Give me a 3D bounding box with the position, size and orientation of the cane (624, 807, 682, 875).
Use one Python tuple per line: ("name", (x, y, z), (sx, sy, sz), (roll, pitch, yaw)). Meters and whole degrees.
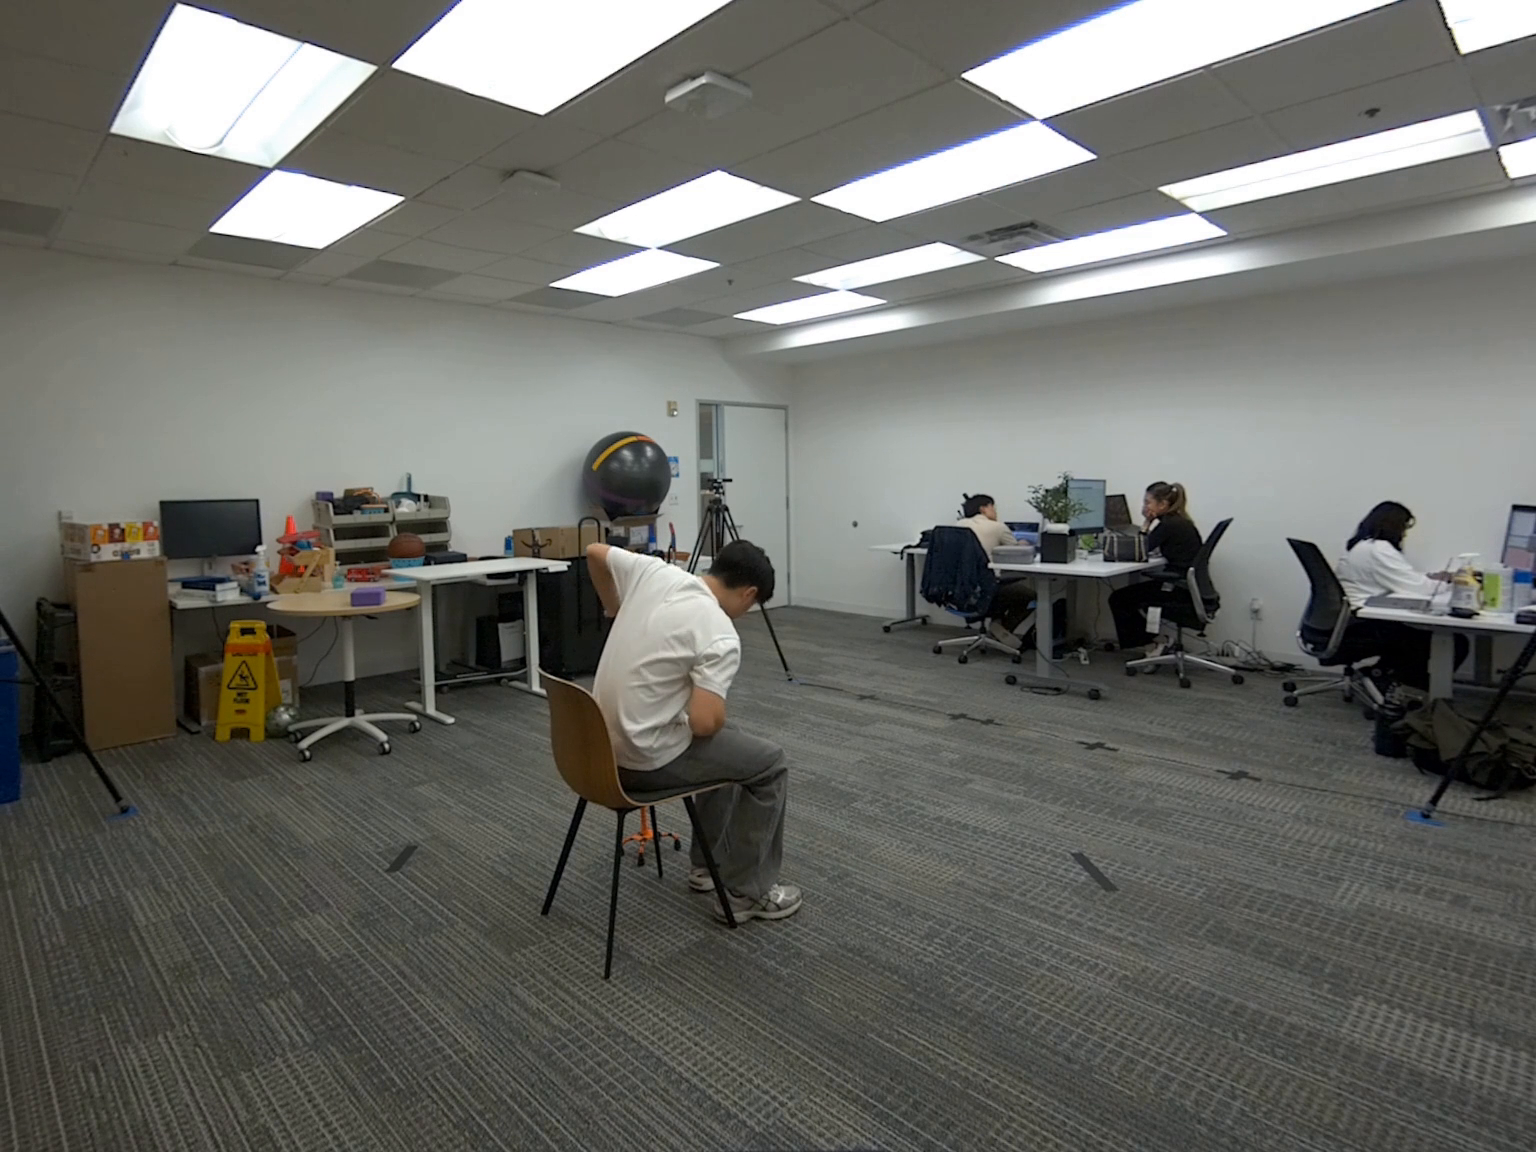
("cane", (-0.466, 0.582, 3.197), (0.201, 0.905, 0.156), (-6, 4, -44))
